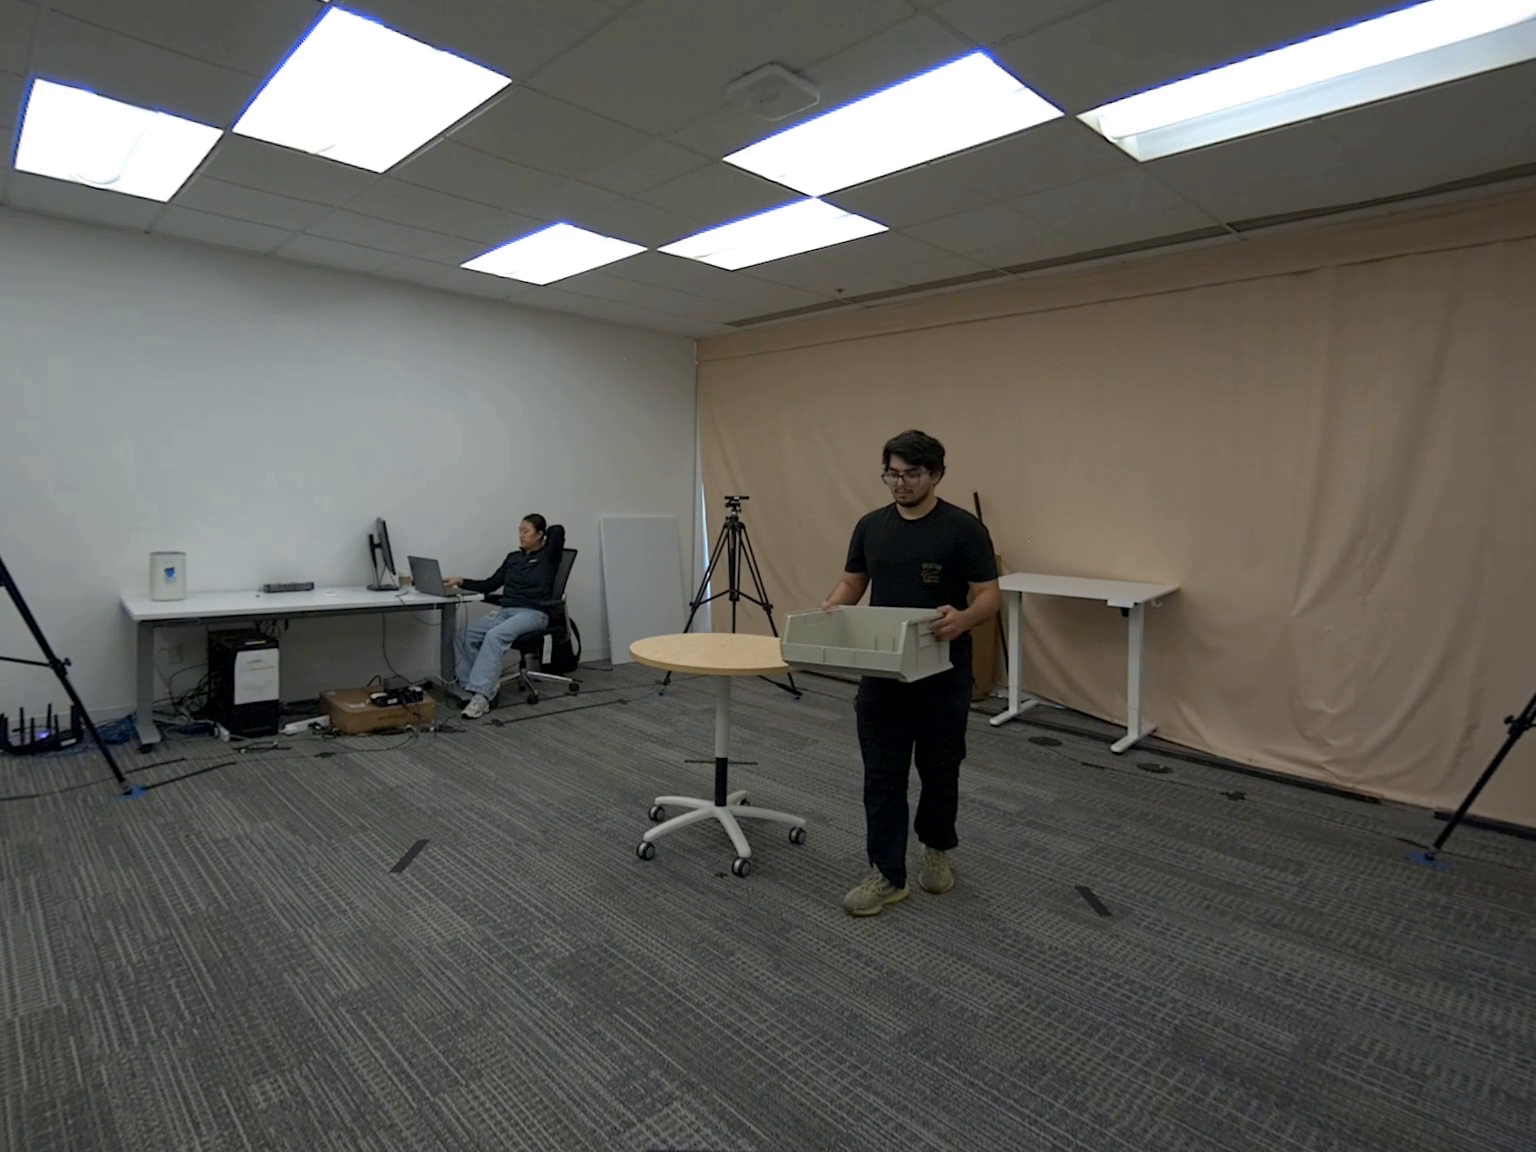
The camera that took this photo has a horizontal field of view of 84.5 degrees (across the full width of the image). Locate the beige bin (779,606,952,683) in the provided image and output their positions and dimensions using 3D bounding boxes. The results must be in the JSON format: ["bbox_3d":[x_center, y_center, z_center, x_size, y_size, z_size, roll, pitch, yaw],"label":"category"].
[{"bbox_3d":[0.305,0.207,2.627,0.432,0.189,0.369,0,1,37],"label":"beige bin"}]
